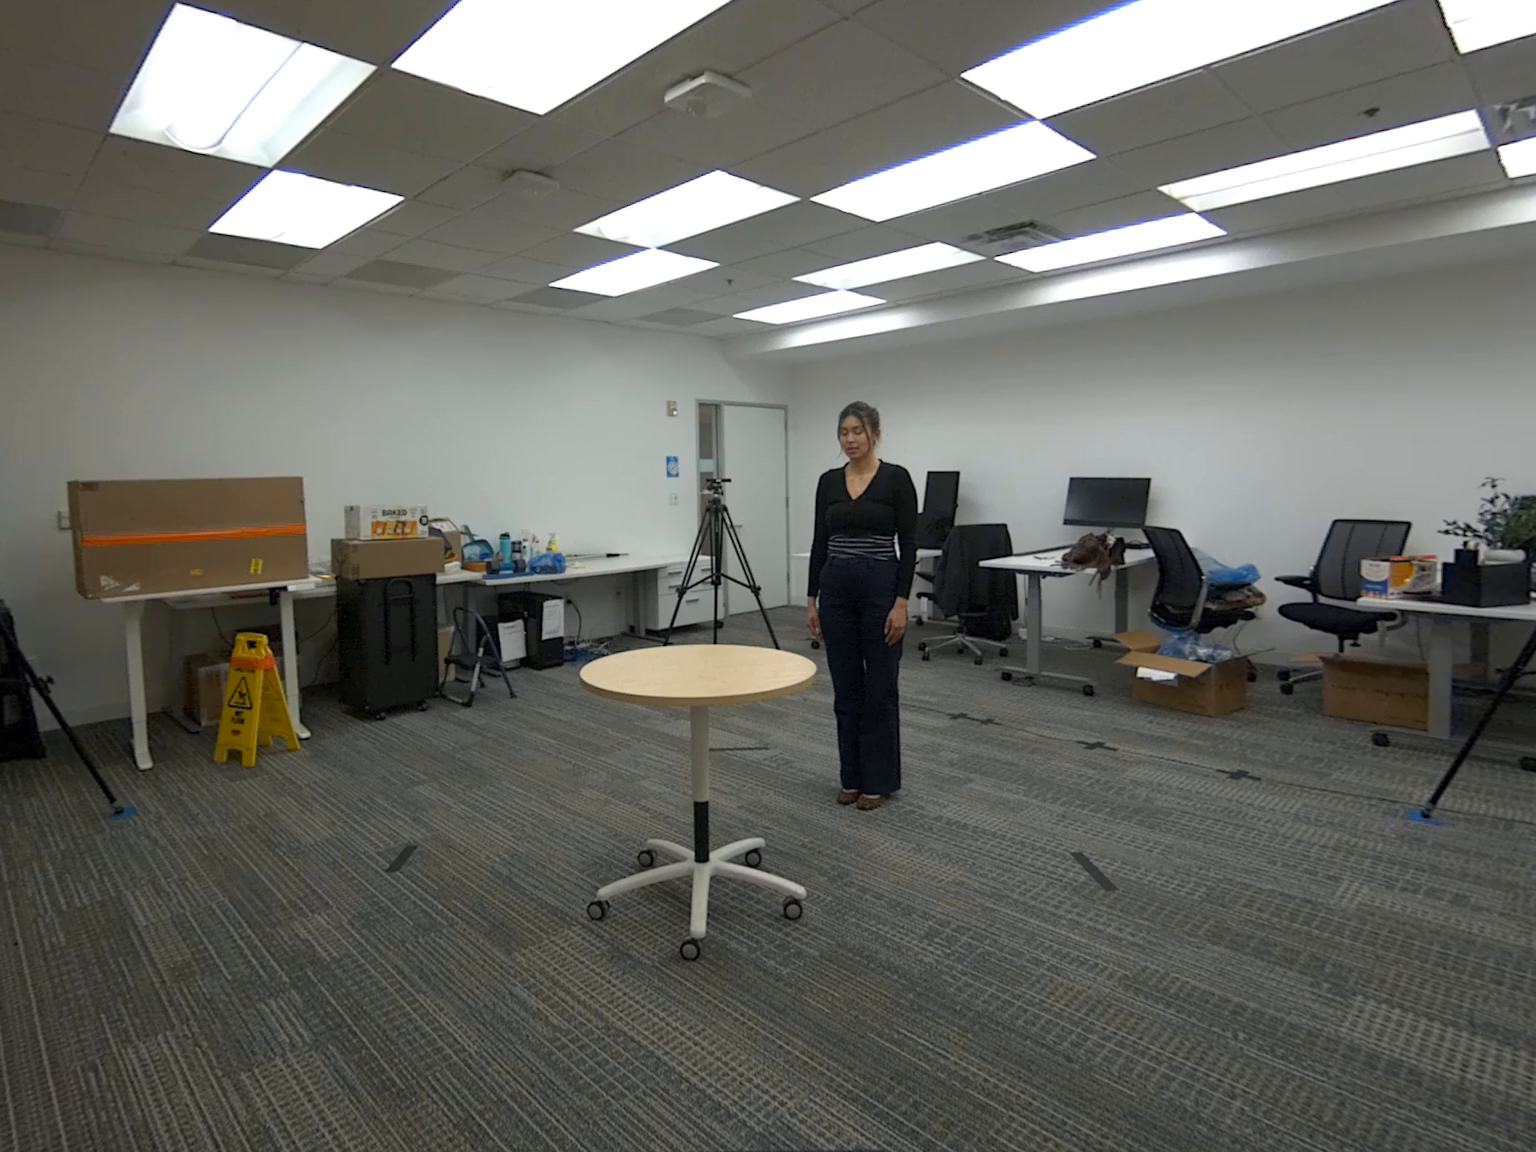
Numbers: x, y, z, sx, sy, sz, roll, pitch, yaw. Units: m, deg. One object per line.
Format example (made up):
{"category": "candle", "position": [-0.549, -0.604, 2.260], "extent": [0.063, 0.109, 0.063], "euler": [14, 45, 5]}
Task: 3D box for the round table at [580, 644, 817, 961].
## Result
{"category": "round table", "position": [-0.217, 0.692, 2.810], "extent": [0.763, 0.790, 0.768], "euler": [-1, 5, -2]}
